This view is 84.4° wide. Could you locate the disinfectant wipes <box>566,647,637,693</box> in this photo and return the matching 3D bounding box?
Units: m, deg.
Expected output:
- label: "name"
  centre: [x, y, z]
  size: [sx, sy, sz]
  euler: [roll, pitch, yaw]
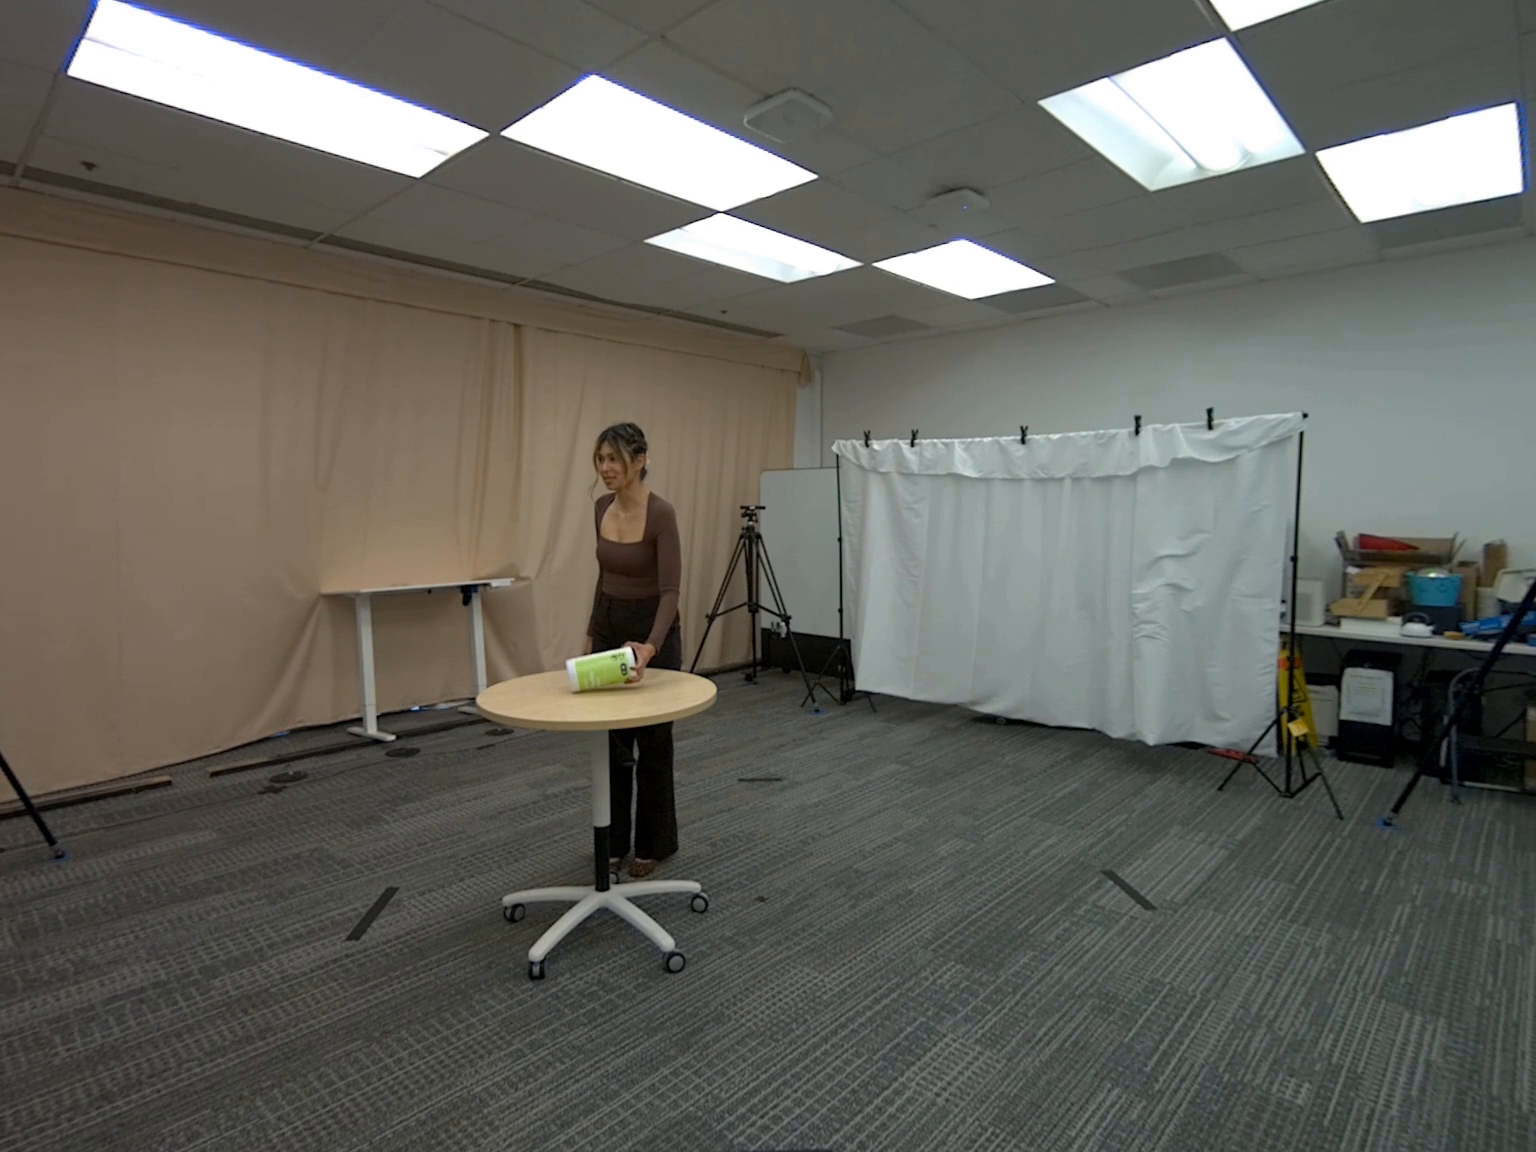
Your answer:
- label: "disinfectant wipes"
  centre: [-0.545, 0.298, 2.728]
  size: [0.215, 0.117, 0.120]
  euler: [-9, 6, -13]
